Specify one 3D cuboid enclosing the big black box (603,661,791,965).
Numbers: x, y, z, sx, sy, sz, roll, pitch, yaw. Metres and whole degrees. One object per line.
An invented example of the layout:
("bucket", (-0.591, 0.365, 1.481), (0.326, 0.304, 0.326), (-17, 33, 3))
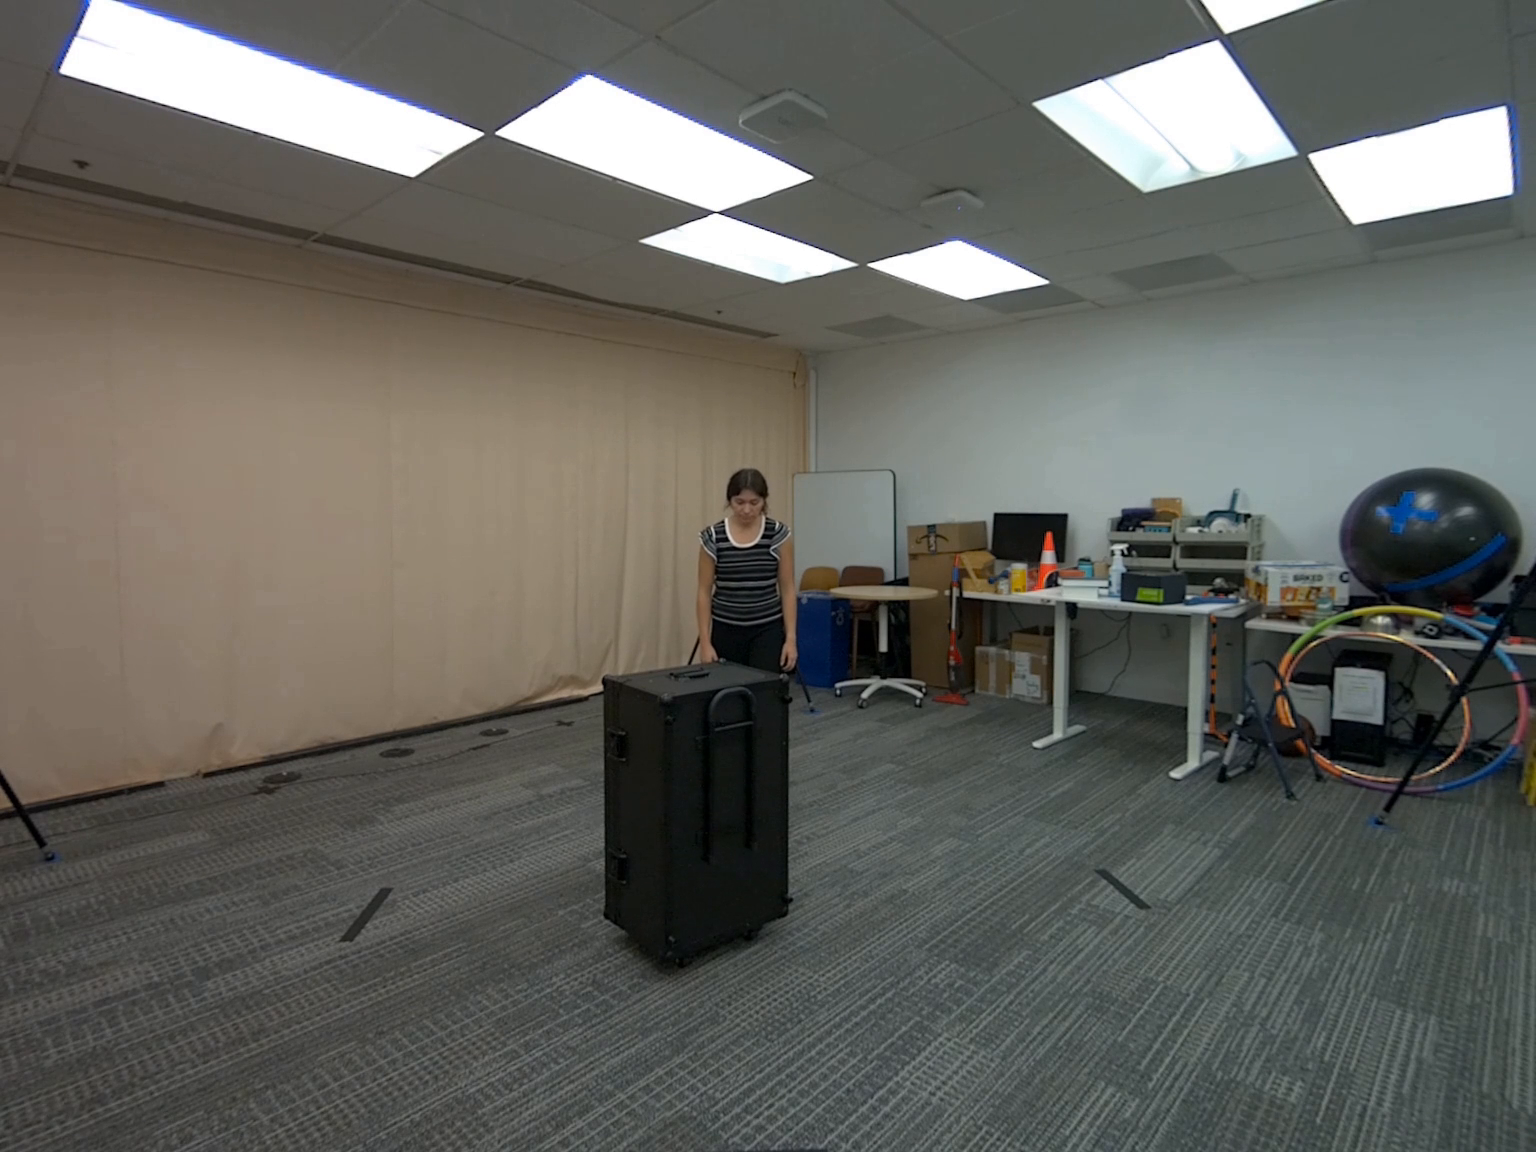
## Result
("big black box", (-0.216, 0.740, 2.692), (0.505, 0.859, 0.409), (-3, 5, -39))
